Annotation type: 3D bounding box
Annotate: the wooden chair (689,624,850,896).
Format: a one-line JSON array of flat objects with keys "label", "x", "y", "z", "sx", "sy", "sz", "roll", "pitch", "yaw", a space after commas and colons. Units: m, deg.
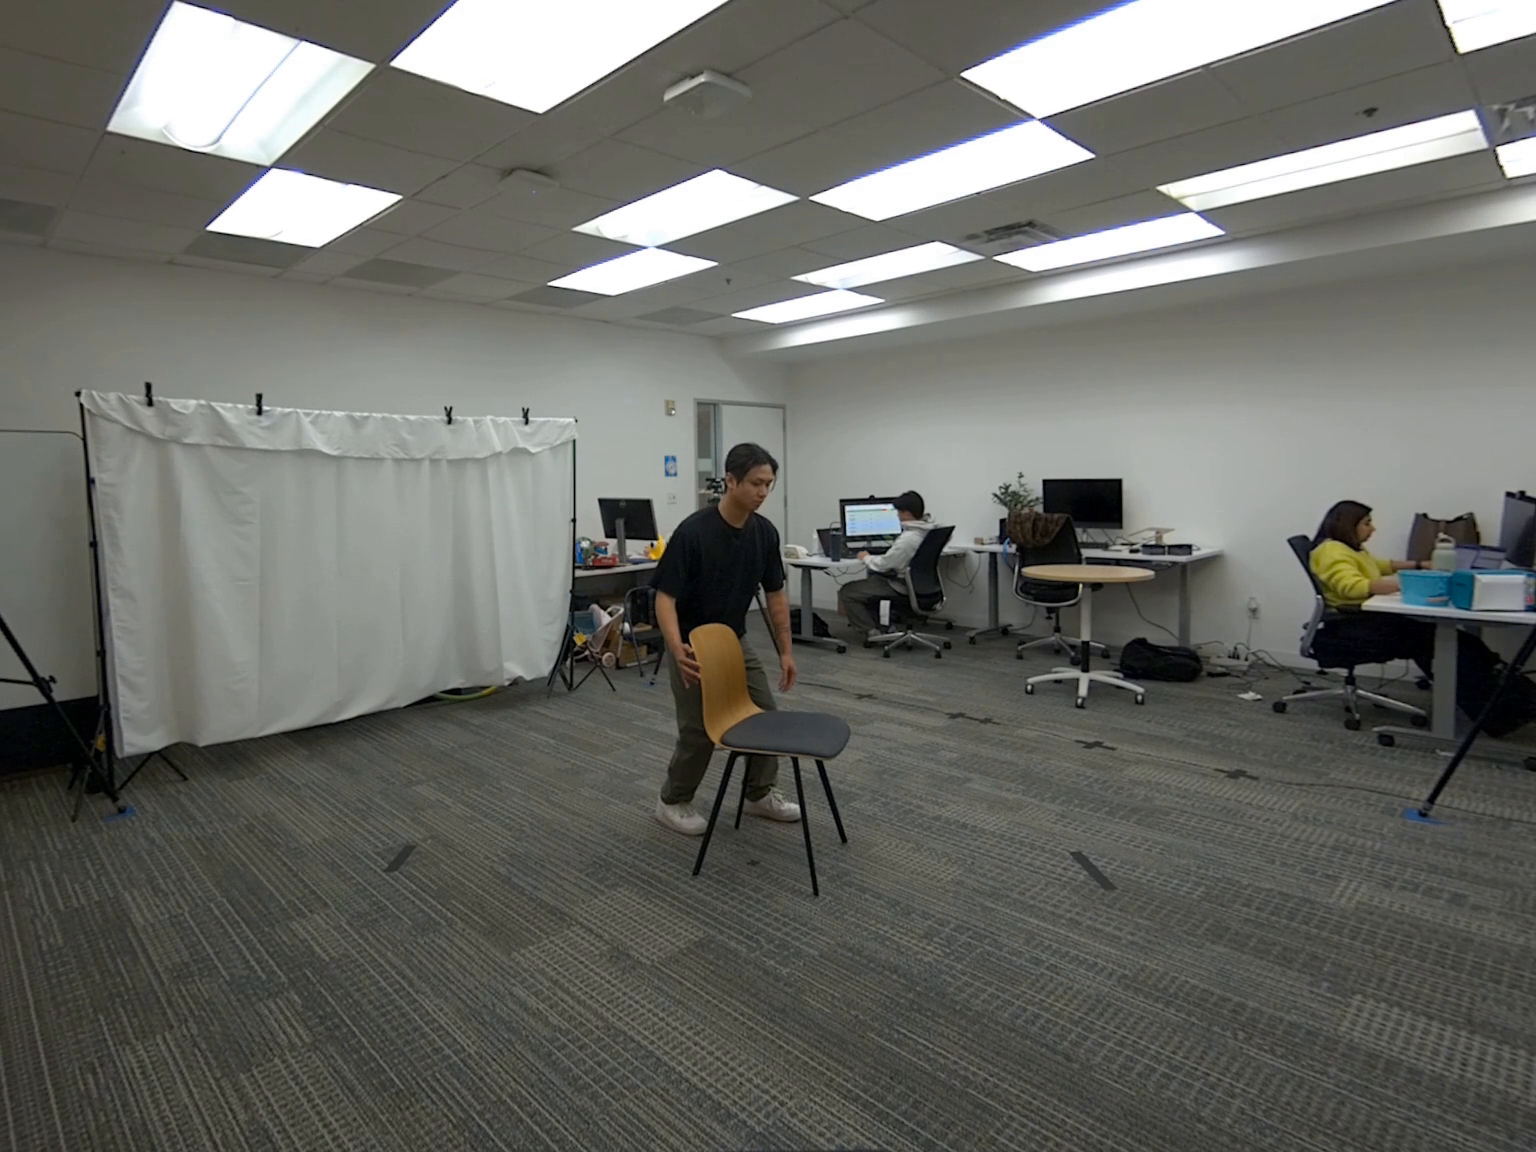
[{"label": "wooden chair", "x": 0.020, "y": 0.614, "z": 3.101, "sx": 0.532, "sy": 0.876, "sz": 0.470, "roll": -4, "pitch": 2, "yaw": 20}]
